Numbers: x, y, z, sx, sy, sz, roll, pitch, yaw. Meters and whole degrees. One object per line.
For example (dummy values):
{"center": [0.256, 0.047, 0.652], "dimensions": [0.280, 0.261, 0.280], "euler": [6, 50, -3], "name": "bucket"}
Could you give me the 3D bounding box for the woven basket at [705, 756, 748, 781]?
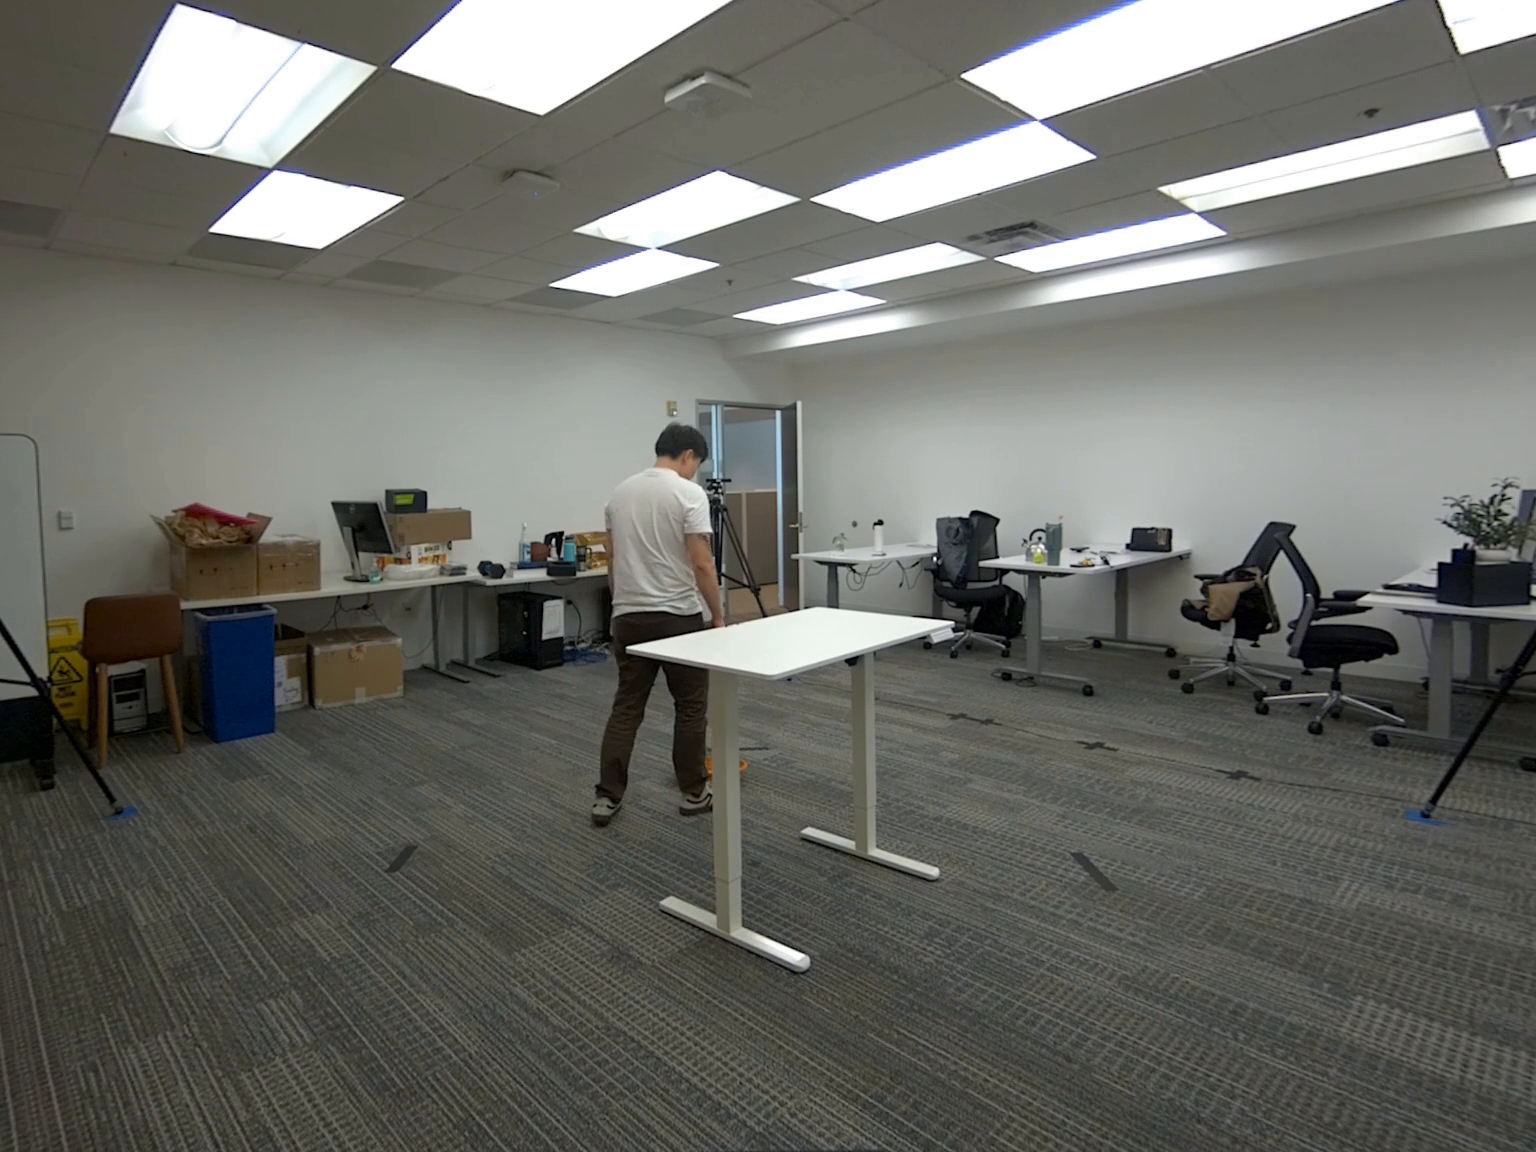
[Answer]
{"center": [-0.268, 0.915, 3.989], "dimensions": [0.351, 0.073, 0.253], "euler": [-1, 5, 0], "name": "woven basket"}
